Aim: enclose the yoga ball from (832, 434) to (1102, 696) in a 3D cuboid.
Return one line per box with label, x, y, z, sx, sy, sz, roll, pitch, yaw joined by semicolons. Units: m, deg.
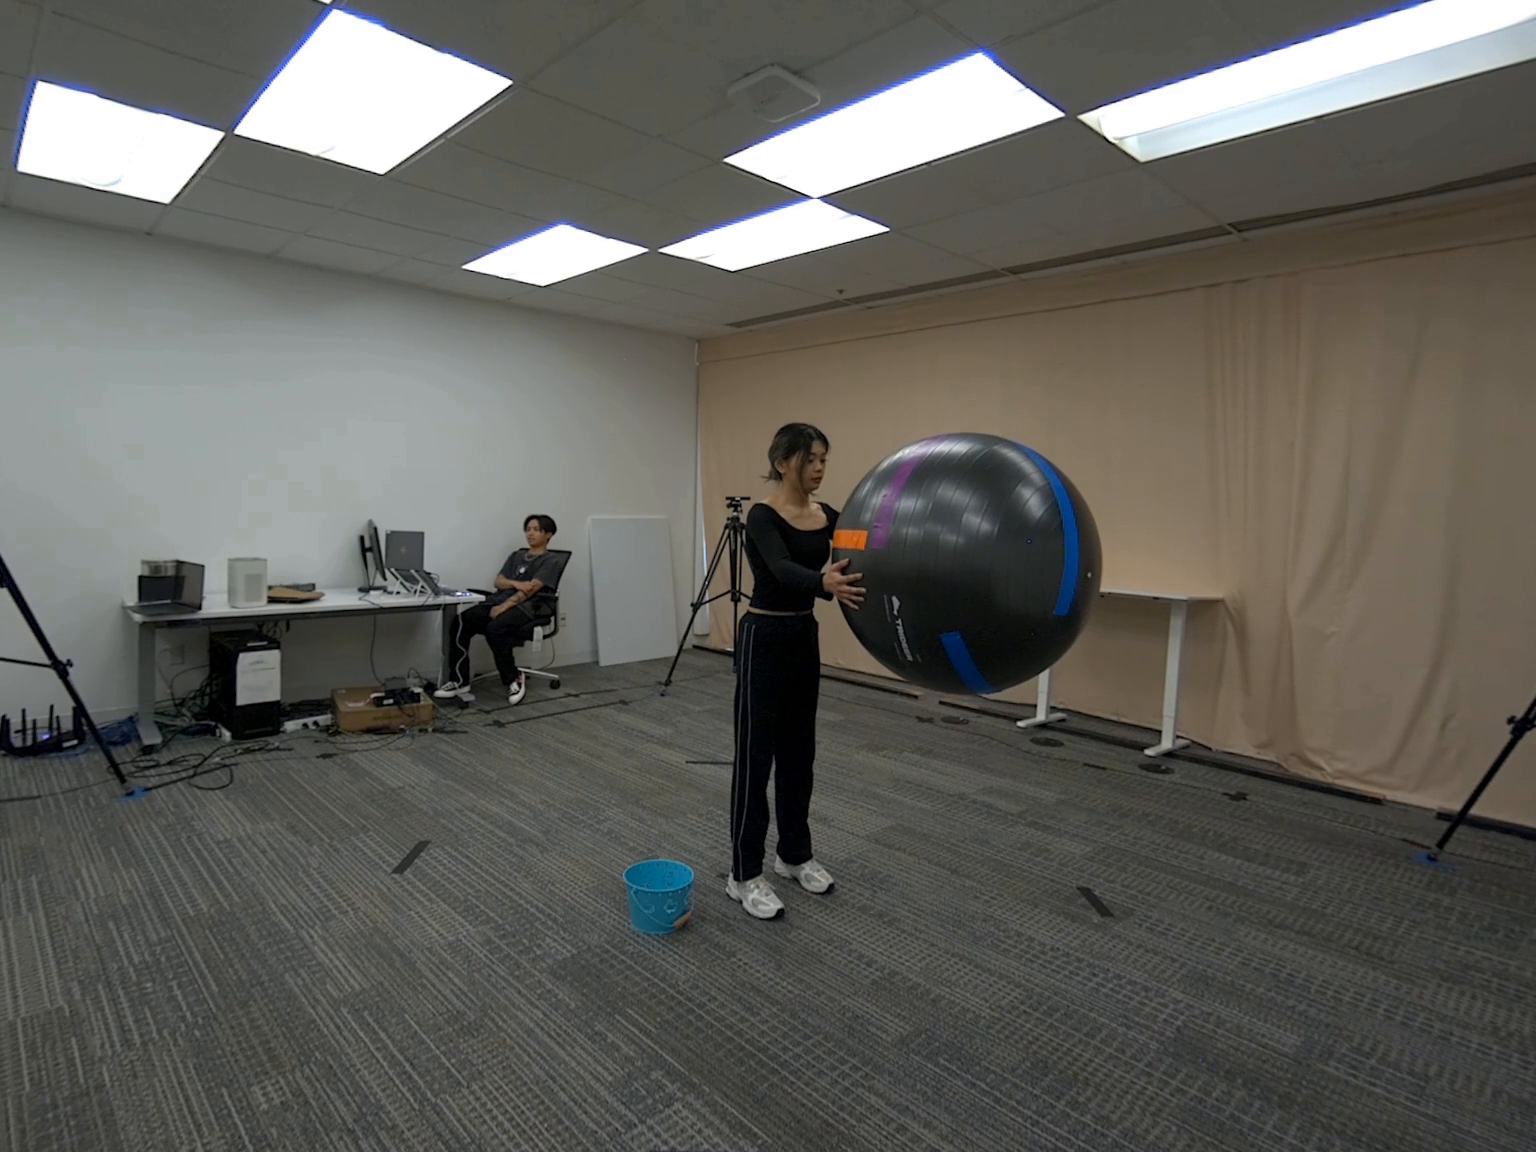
yoga ball;0.569;-0.031;2.441;0.757;0.756;0.761;1;4;-1
